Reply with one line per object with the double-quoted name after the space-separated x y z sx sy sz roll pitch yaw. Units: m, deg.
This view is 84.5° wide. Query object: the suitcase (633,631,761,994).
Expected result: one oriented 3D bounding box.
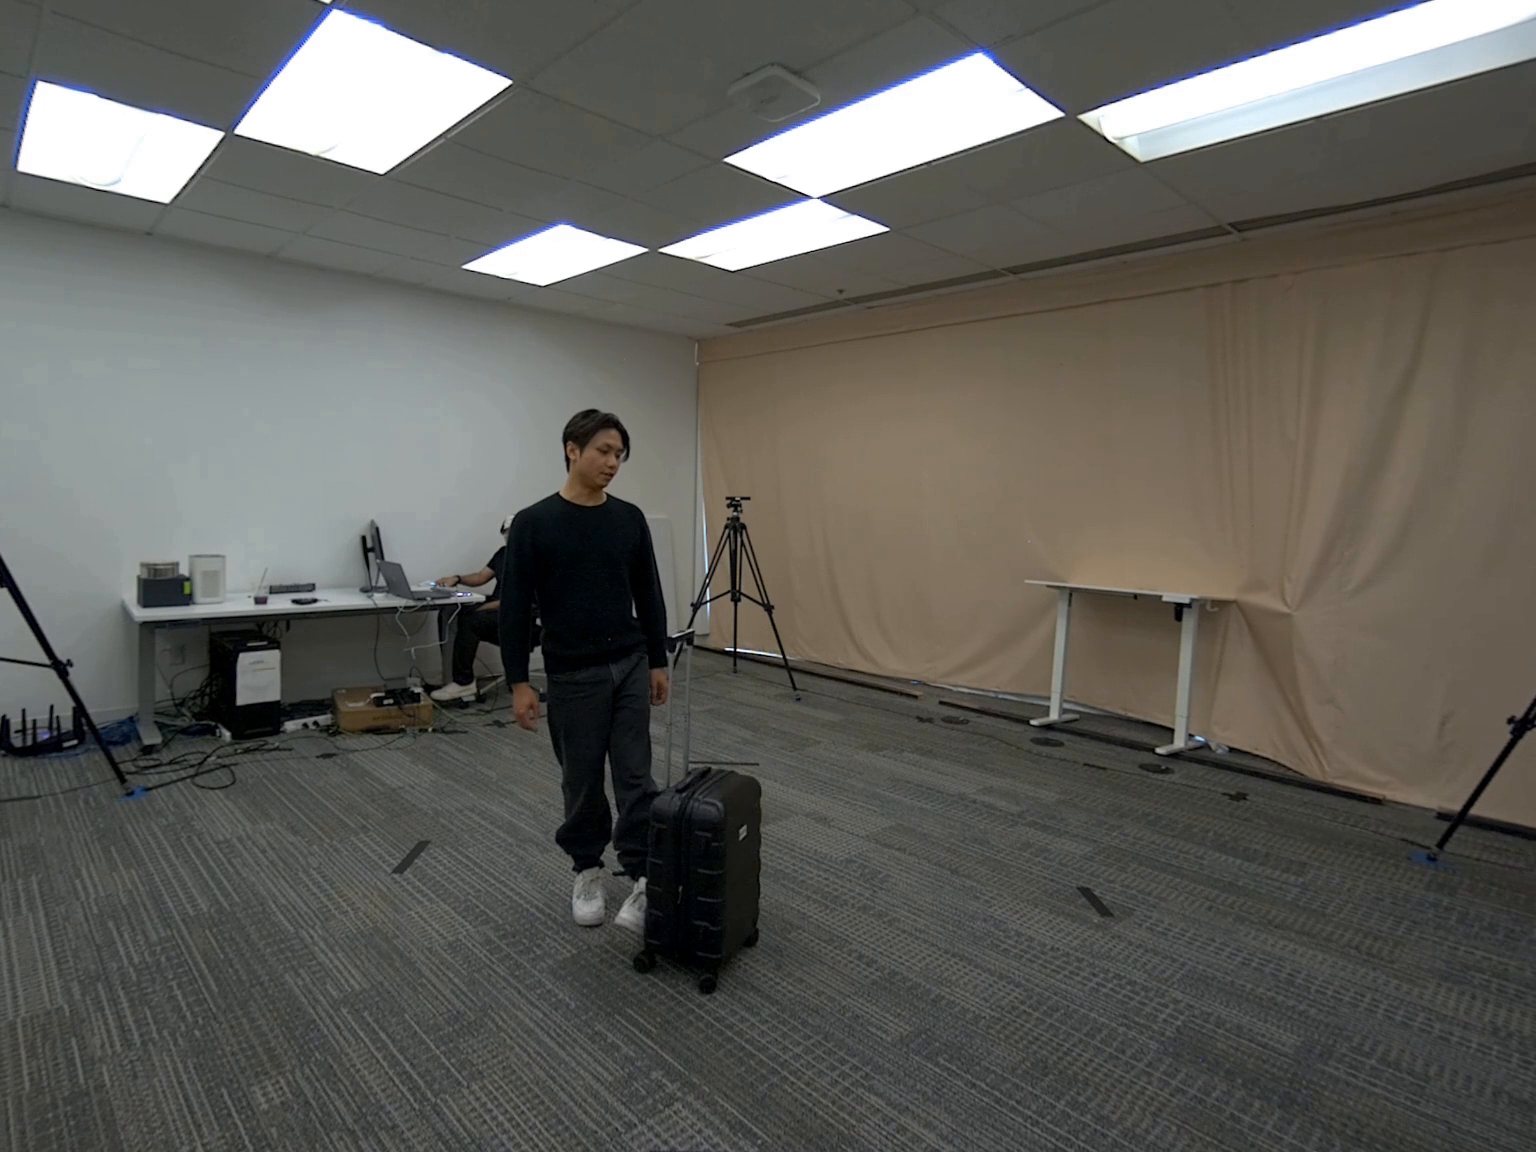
-0.184 0.685 2.527 0.262 0.976 0.378 6 4 21 "suitcase"
